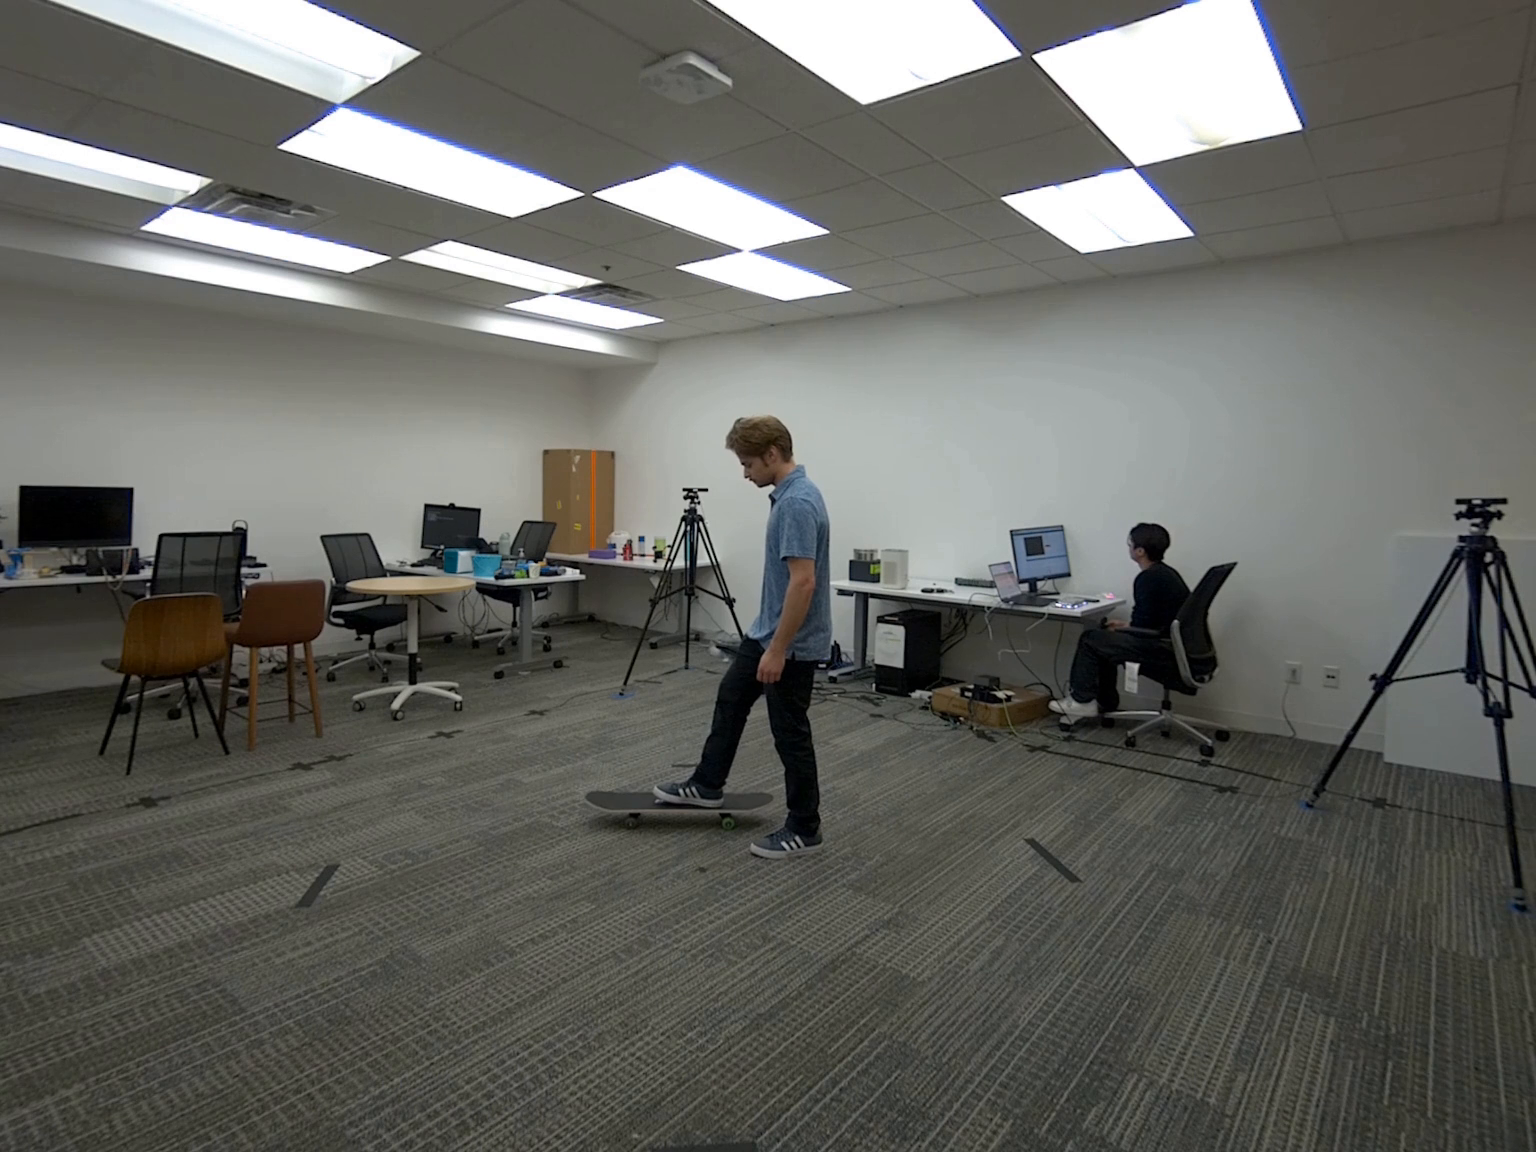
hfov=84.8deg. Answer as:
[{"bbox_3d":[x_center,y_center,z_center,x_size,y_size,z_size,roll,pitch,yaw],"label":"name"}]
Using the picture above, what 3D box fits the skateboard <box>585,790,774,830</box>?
[{"bbox_3d":[-0.379,0.962,3.545,0.784,0.110,0.195,1,7,-2],"label":"skateboard"}]
